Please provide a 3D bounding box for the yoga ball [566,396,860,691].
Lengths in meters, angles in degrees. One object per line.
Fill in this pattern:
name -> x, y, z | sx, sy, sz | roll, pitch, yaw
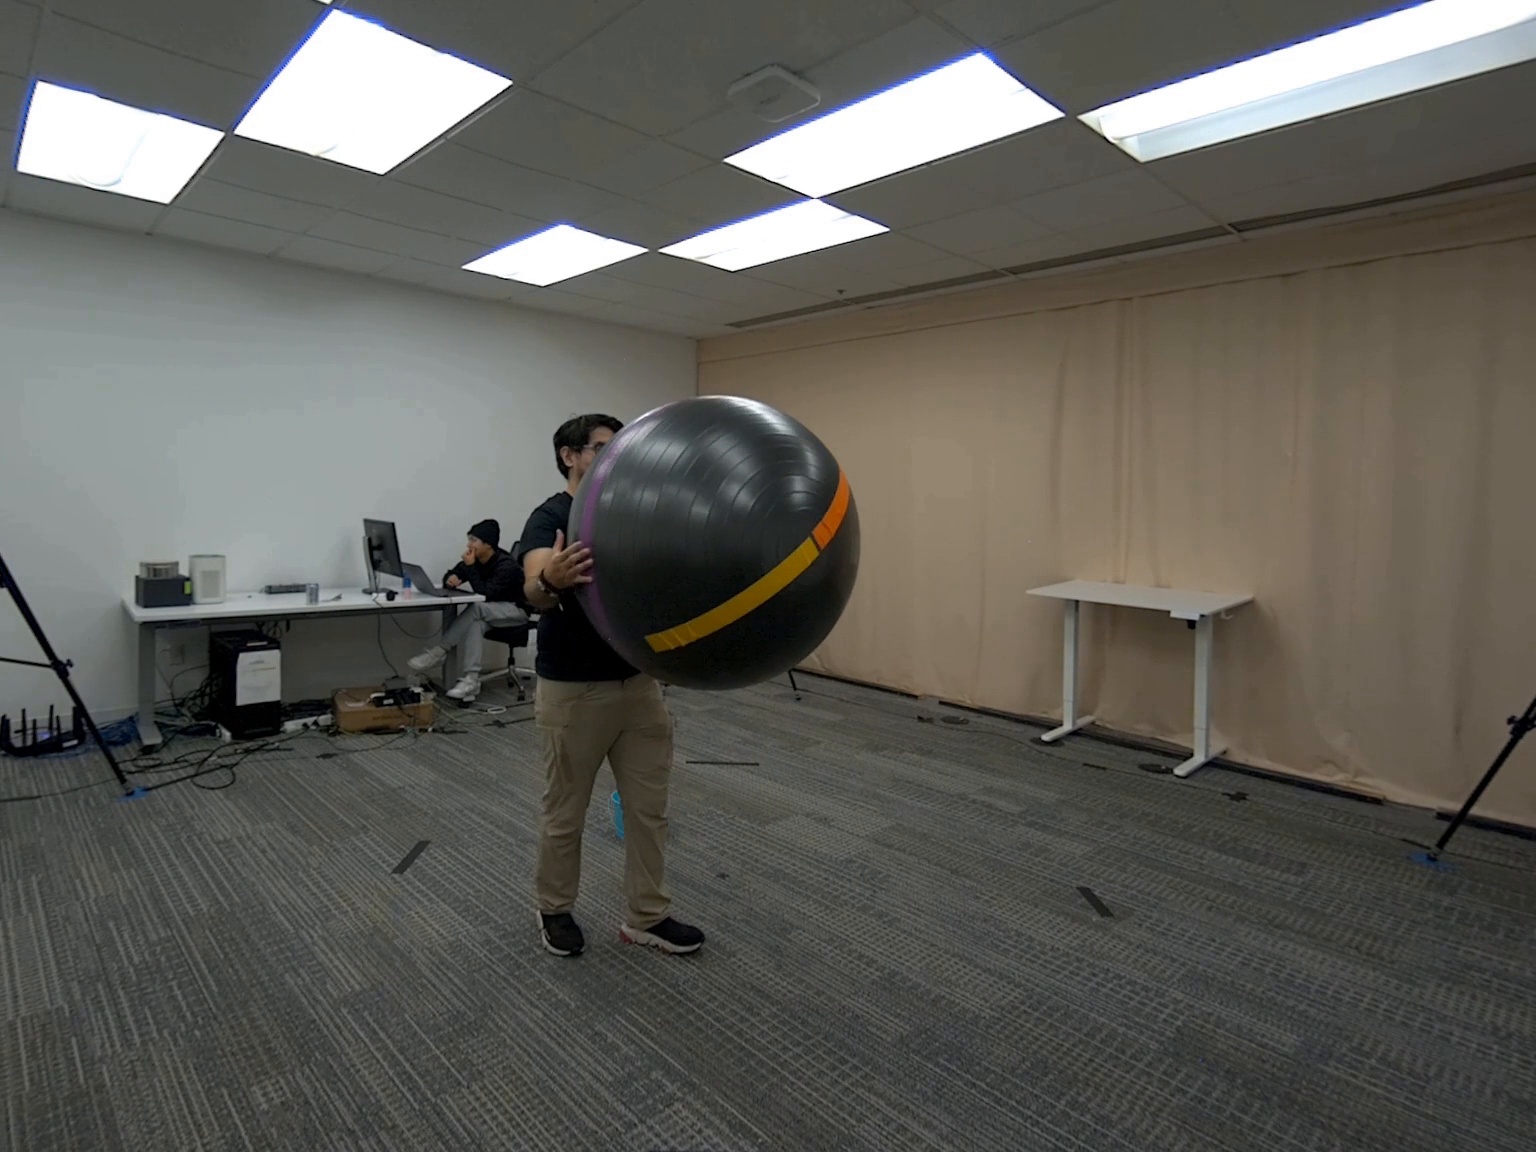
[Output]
yoga ball -> -0.138, -0.075, 2.185 | 0.757, 0.756, 0.761 | 1, 4, -1
